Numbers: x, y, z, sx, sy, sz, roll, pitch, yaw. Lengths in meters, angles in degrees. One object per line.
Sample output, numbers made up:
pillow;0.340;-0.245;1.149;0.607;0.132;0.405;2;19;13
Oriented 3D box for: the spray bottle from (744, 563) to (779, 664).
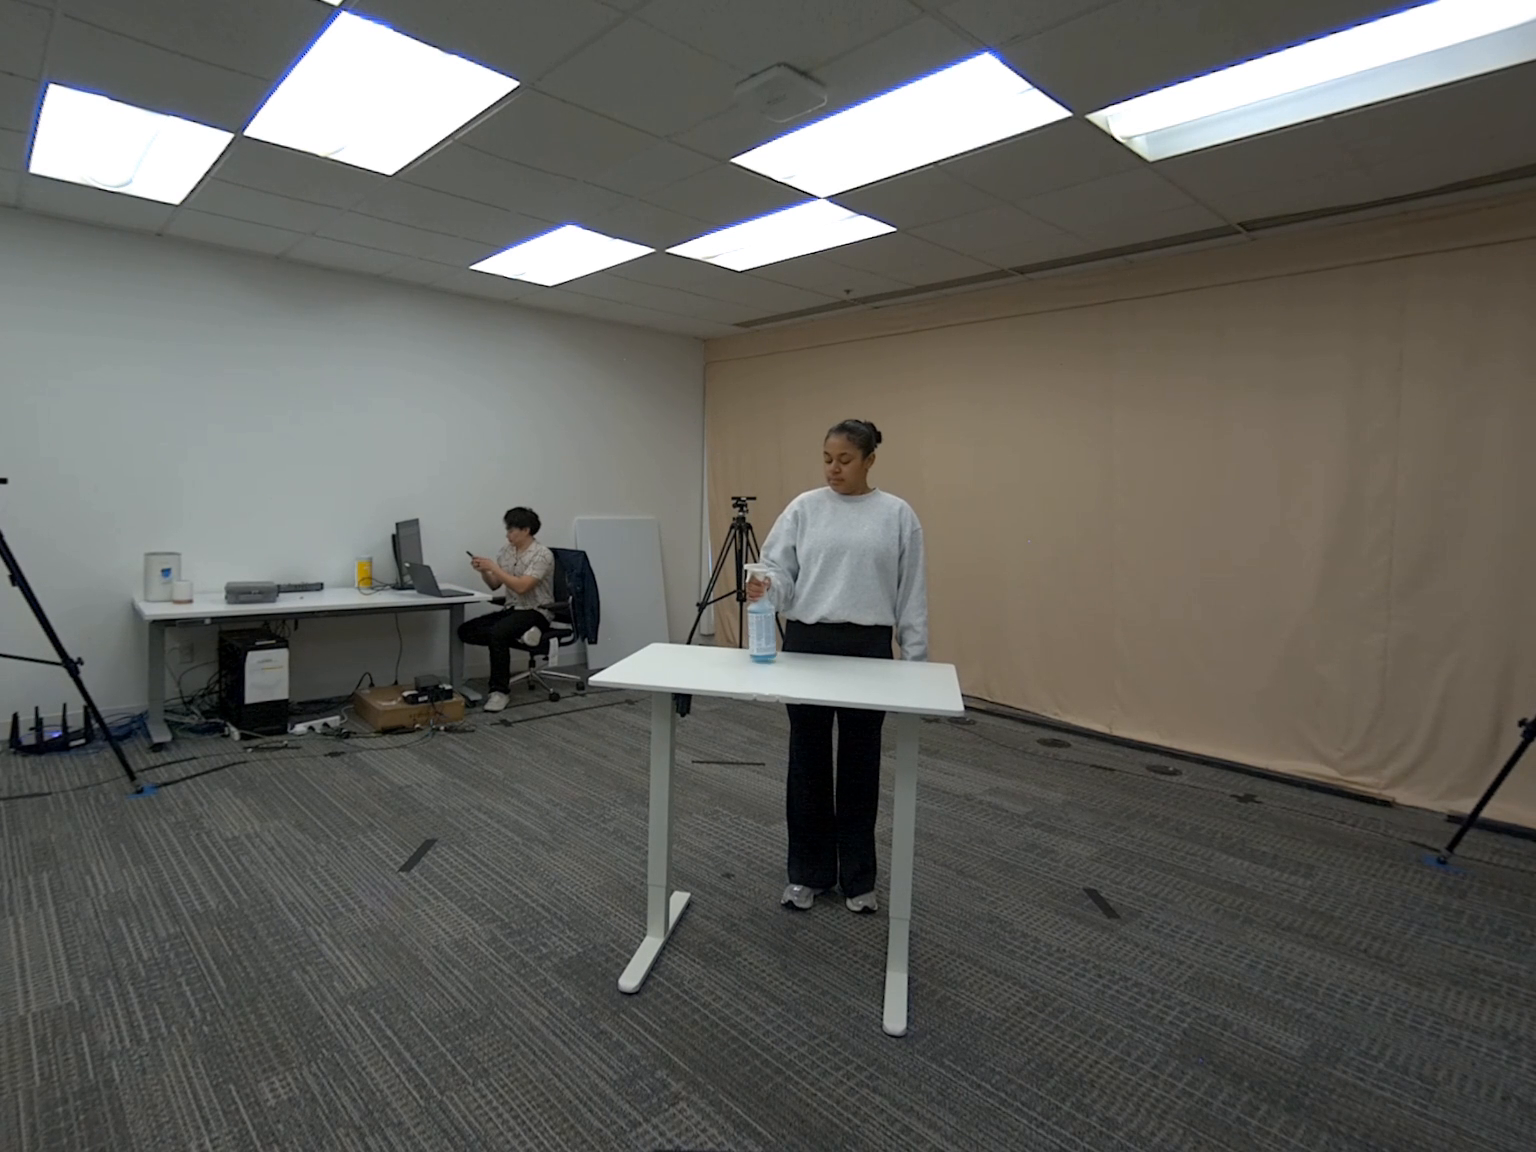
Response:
spray bottle;-0.026;0.099;2.630;0.090;0.297;0.087;-4;1;-4
